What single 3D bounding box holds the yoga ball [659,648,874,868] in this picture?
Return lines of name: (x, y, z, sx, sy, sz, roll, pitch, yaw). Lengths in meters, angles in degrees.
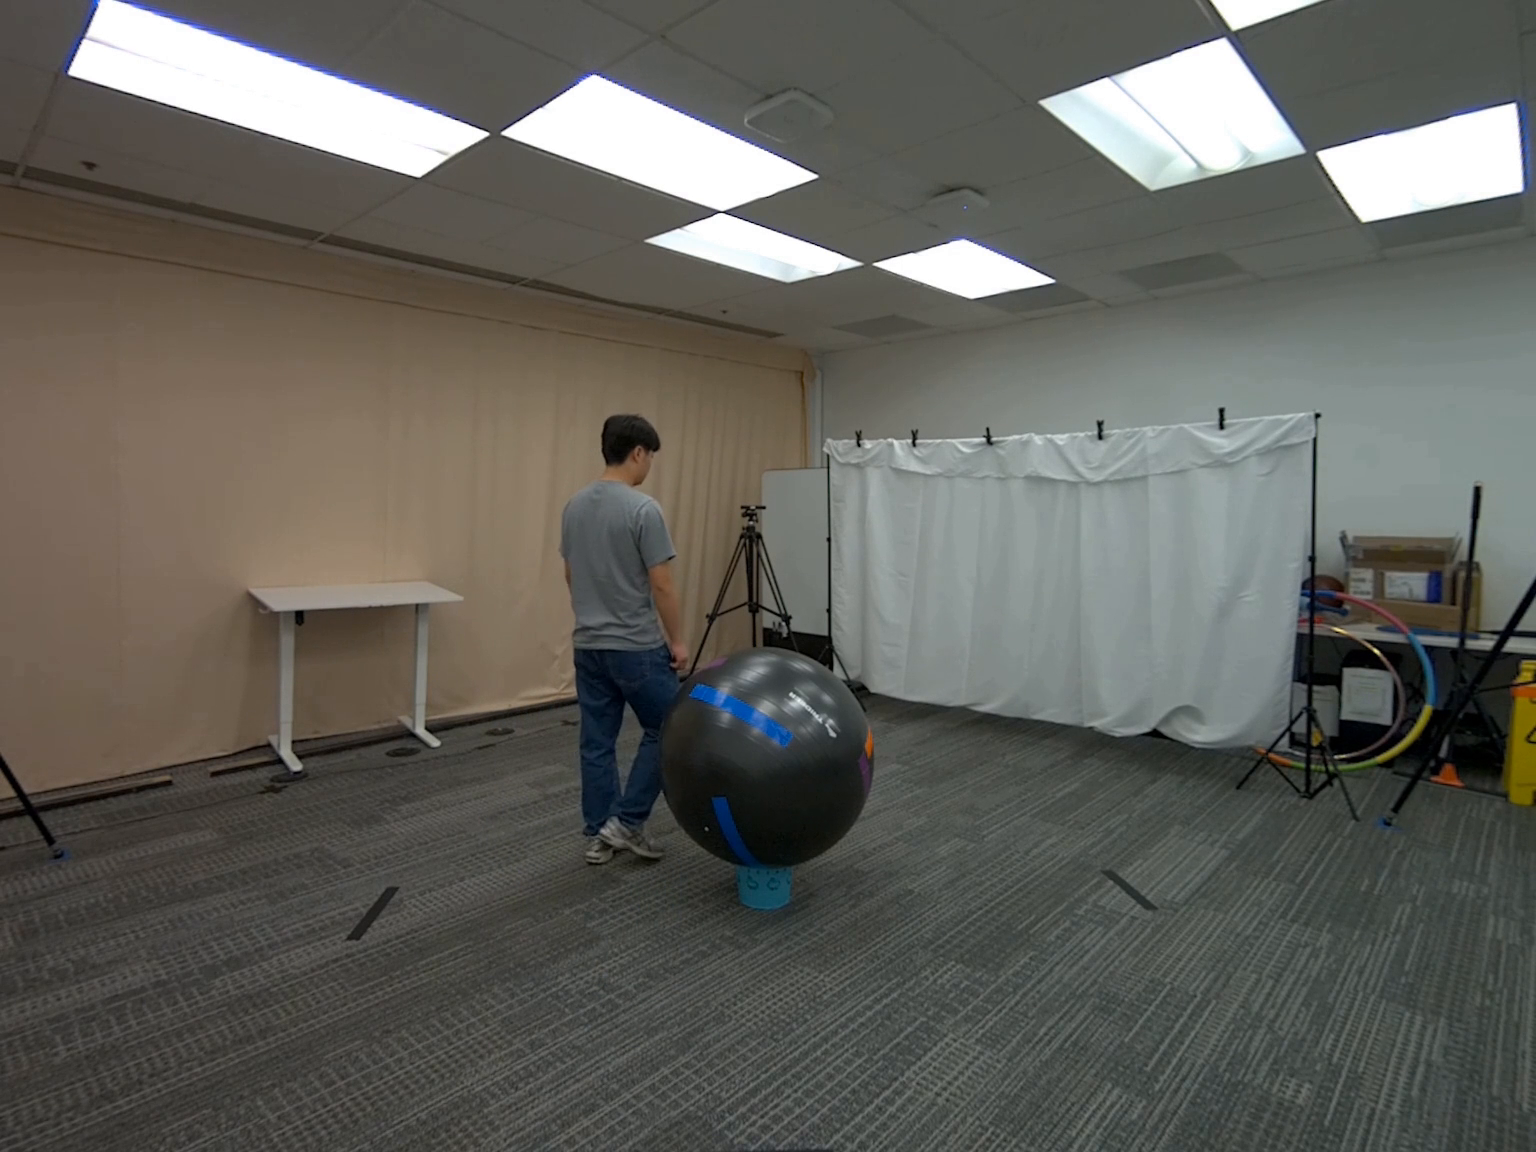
yoga ball: (-0.010, 0.633, 2.973, 0.757, 0.756, 0.760, 0, 4, -2)
